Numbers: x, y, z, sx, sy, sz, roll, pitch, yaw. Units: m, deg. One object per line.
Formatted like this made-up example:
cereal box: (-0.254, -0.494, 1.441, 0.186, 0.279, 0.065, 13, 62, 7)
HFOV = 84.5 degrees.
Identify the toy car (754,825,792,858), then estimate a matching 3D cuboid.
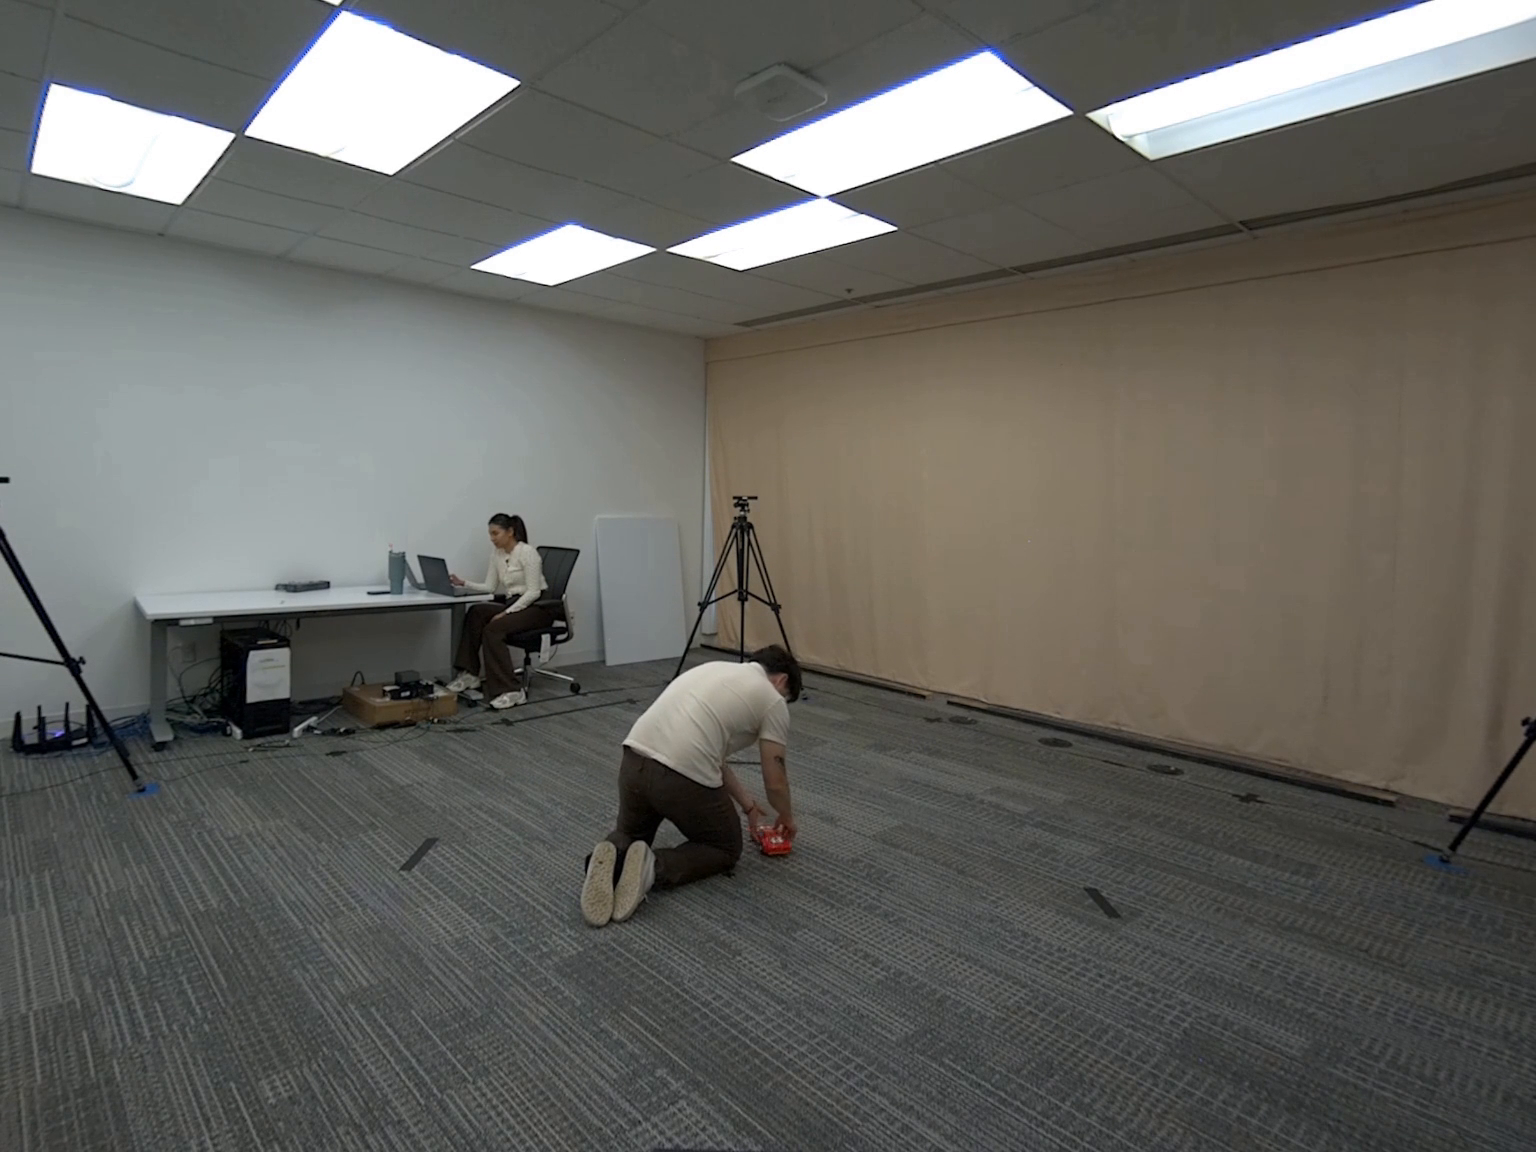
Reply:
toy car: (0.000, 1.055, 3.346, 0.128, 0.084, 0.256, 2, -7, -16)
